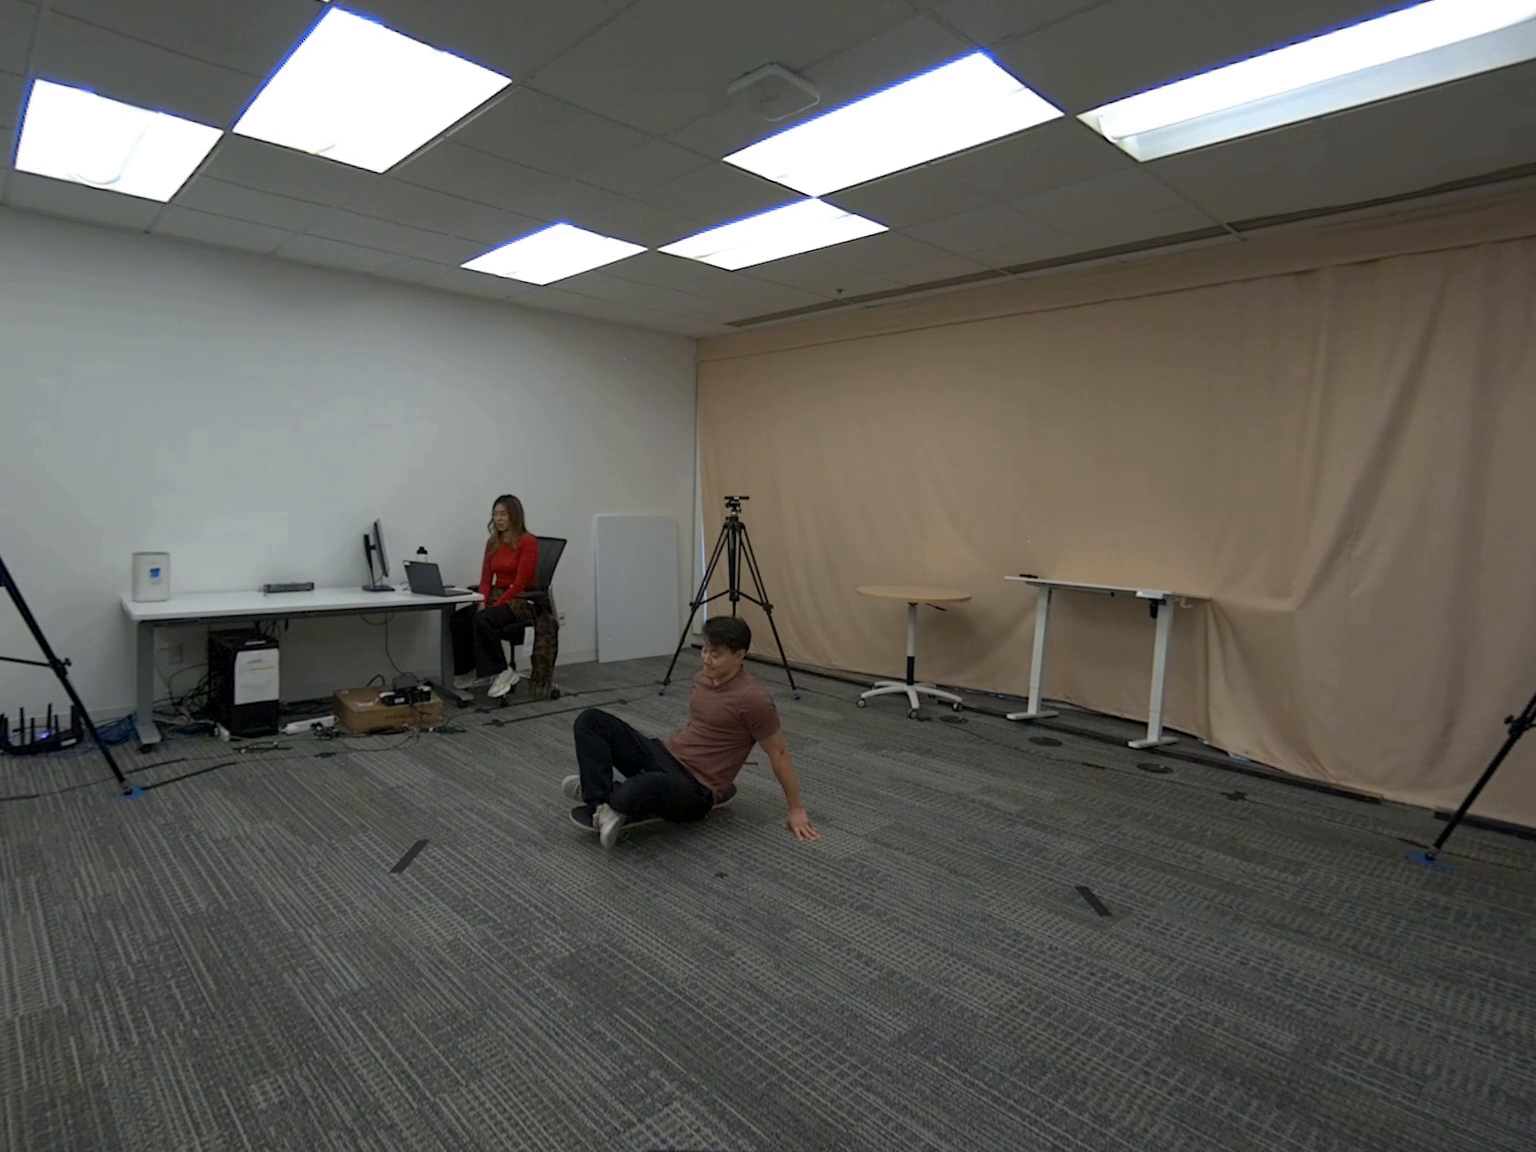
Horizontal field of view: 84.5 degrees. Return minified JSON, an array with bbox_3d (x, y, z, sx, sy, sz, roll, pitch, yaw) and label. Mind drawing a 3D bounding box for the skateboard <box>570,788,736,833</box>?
[{"bbox_3d":[-0.473,1.010,3.566,0.768,0.109,0.199,-1,16,-34],"label":"skateboard"}]
